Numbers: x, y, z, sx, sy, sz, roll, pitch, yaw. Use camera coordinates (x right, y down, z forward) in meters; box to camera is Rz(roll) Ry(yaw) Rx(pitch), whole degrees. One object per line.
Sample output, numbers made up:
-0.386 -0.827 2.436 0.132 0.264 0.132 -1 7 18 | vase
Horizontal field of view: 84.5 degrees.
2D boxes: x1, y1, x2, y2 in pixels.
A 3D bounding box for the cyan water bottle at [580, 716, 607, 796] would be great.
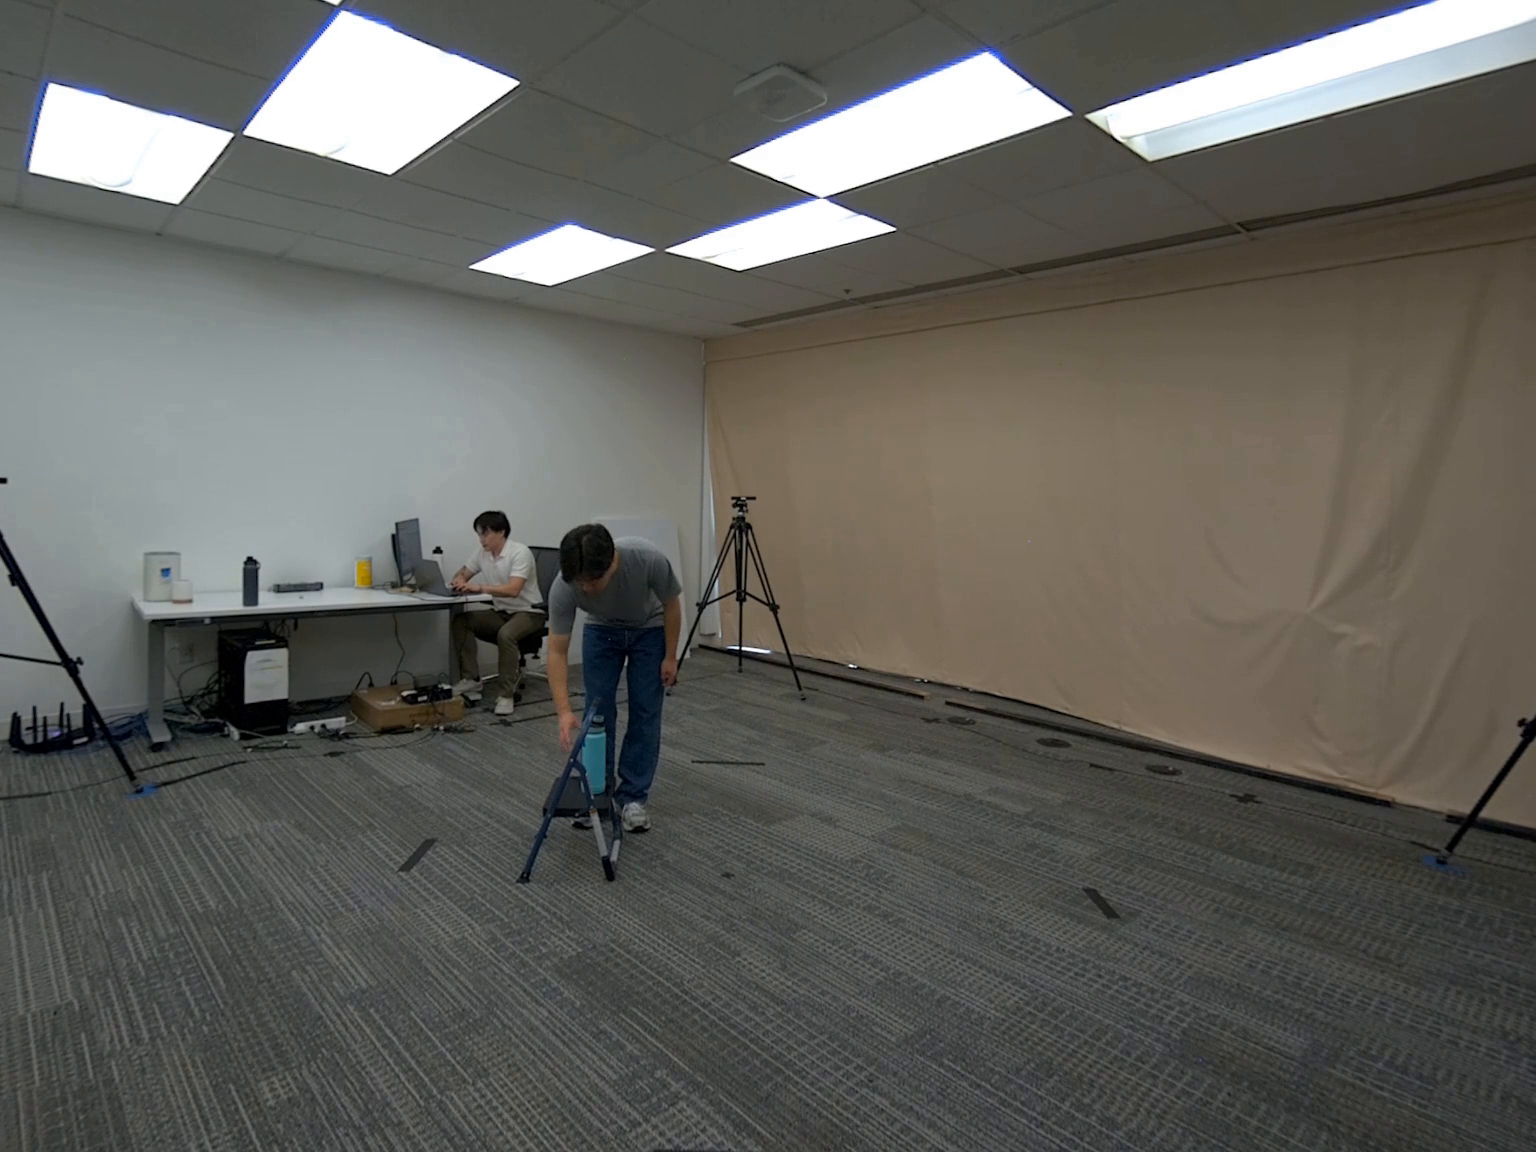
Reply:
-0.685 0.687 3.218 0.092 0.284 0.092 -2 -1 -1 | cyan water bottle
